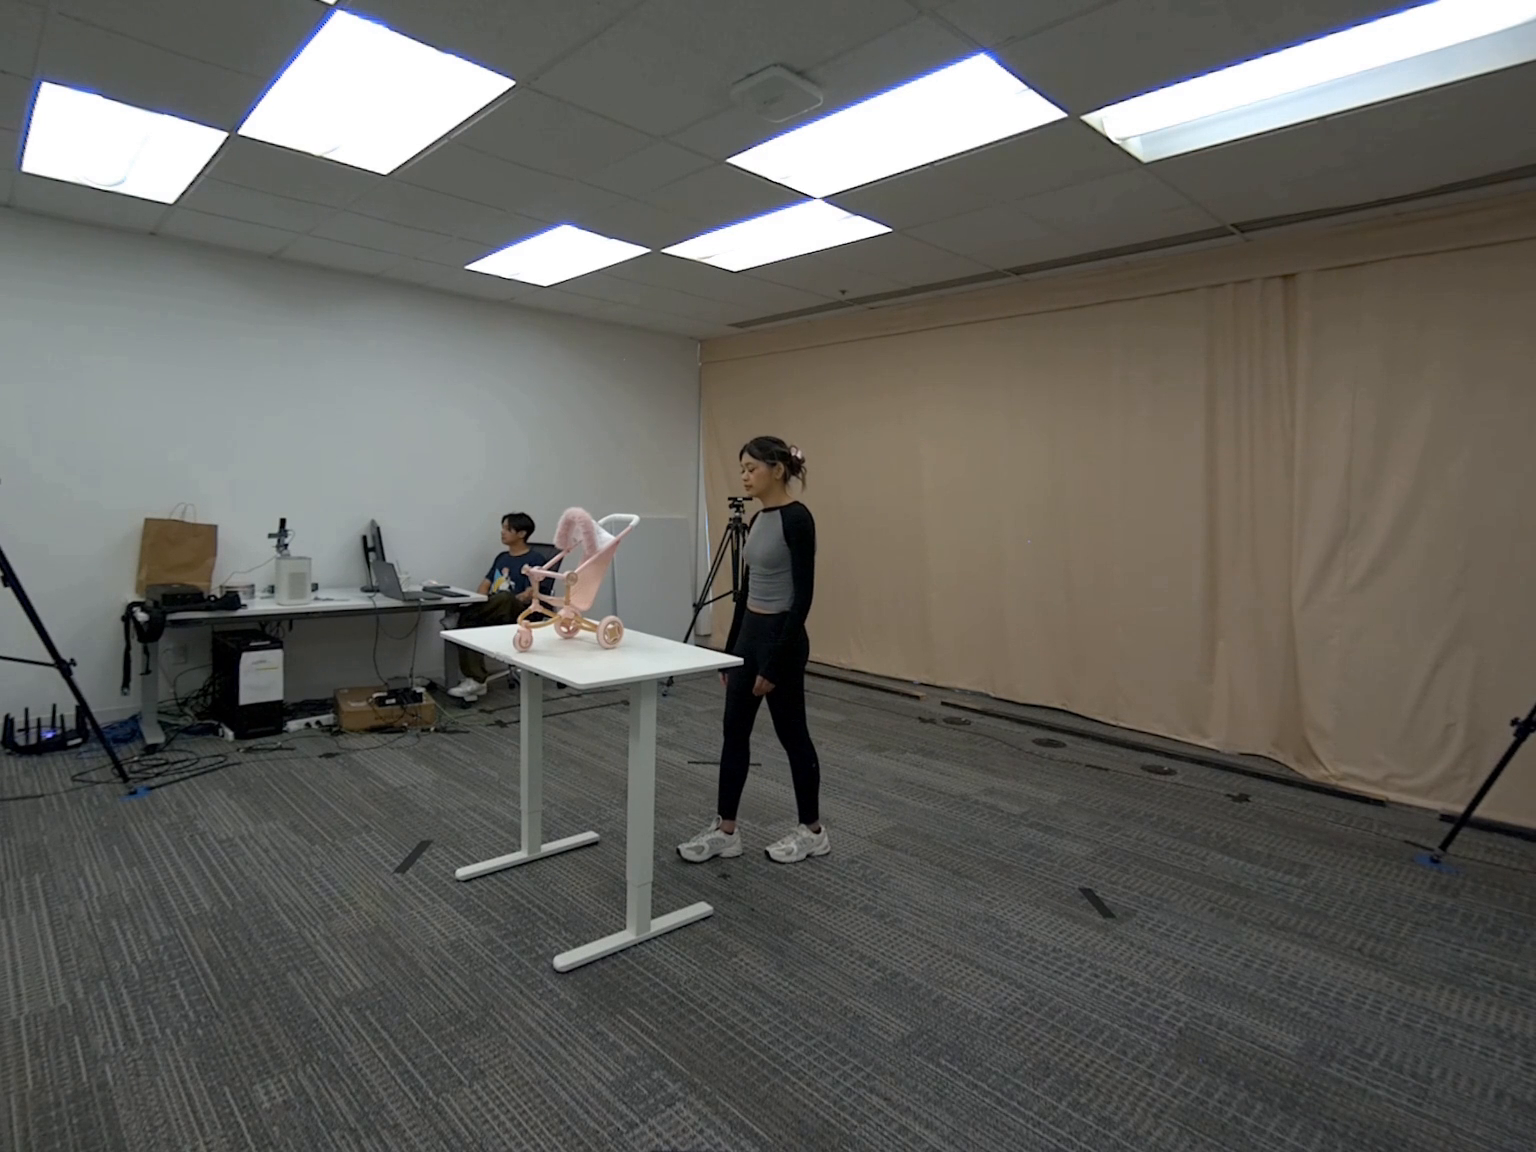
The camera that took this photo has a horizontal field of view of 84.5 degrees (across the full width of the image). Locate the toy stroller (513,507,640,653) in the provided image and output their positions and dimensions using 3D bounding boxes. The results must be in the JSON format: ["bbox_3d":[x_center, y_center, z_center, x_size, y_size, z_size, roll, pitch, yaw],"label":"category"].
[{"bbox_3d":[-0.666,0.012,2.839,0.331,0.537,0.288,17,-8,-41],"label":"toy stroller"}]
